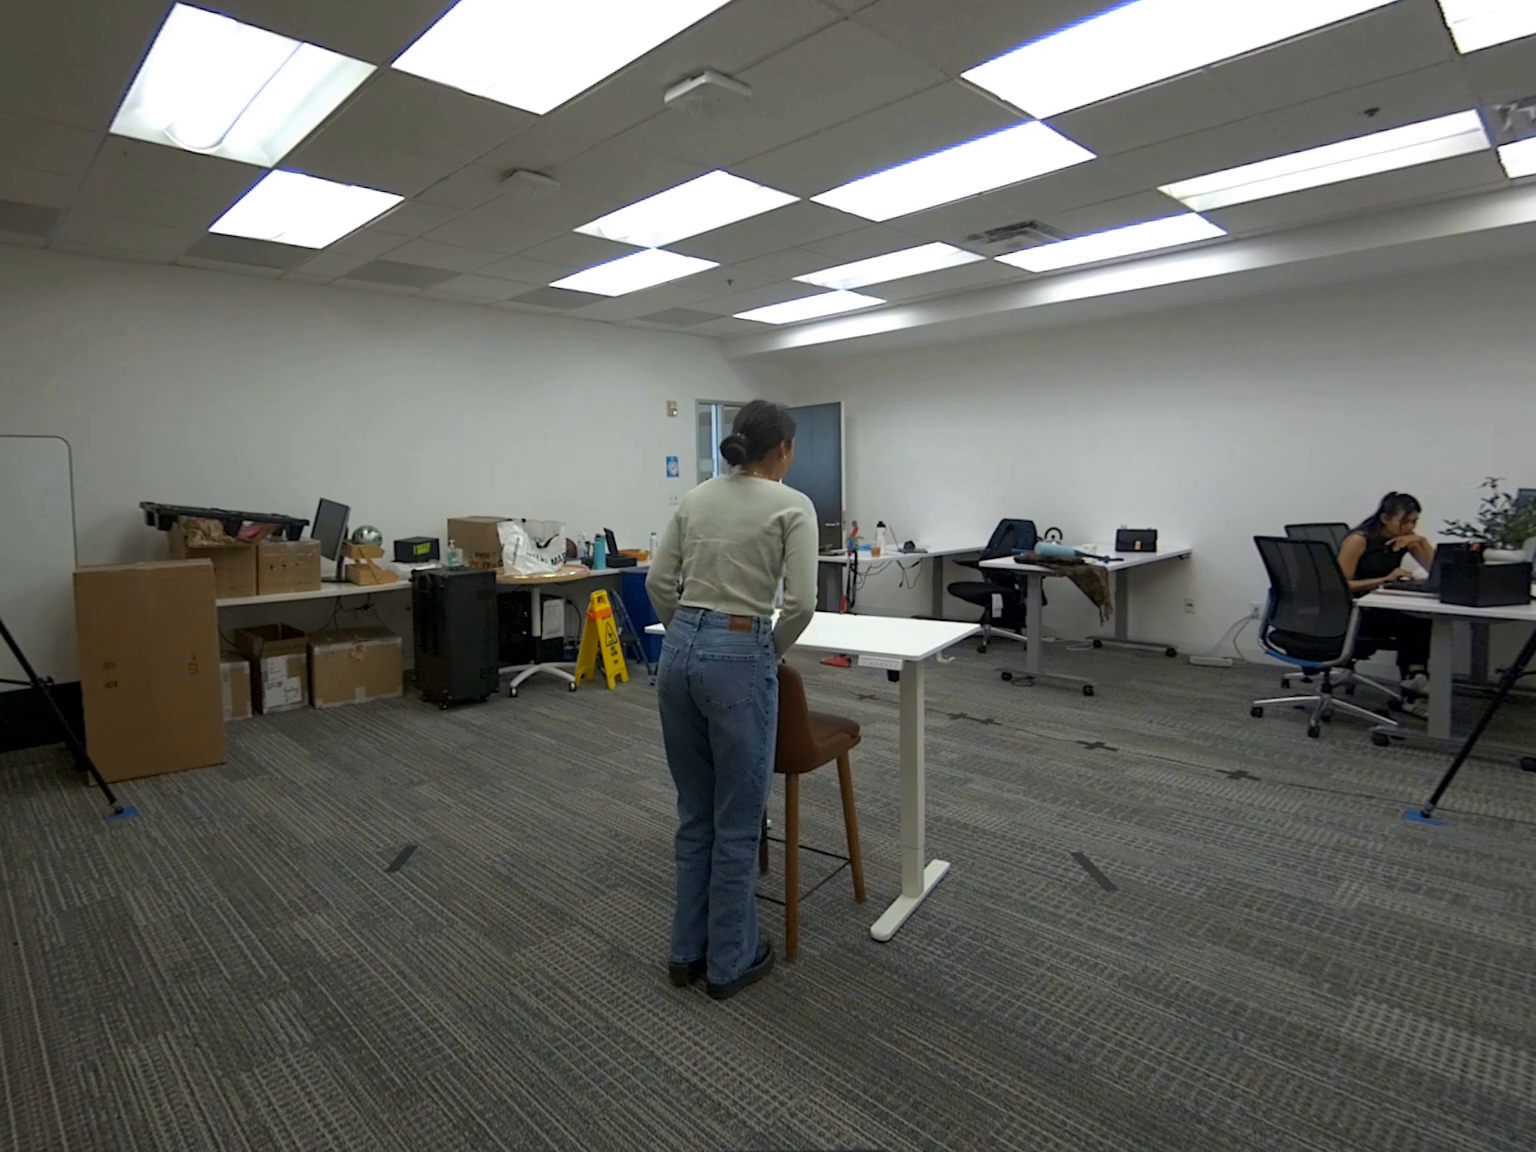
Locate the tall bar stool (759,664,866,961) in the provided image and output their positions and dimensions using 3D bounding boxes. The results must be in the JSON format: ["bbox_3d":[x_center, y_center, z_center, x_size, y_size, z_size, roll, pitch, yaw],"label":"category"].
[{"bbox_3d":[0.029,0.657,2.718,0.469,0.885,0.457,2,7,34],"label":"tall bar stool"}]
